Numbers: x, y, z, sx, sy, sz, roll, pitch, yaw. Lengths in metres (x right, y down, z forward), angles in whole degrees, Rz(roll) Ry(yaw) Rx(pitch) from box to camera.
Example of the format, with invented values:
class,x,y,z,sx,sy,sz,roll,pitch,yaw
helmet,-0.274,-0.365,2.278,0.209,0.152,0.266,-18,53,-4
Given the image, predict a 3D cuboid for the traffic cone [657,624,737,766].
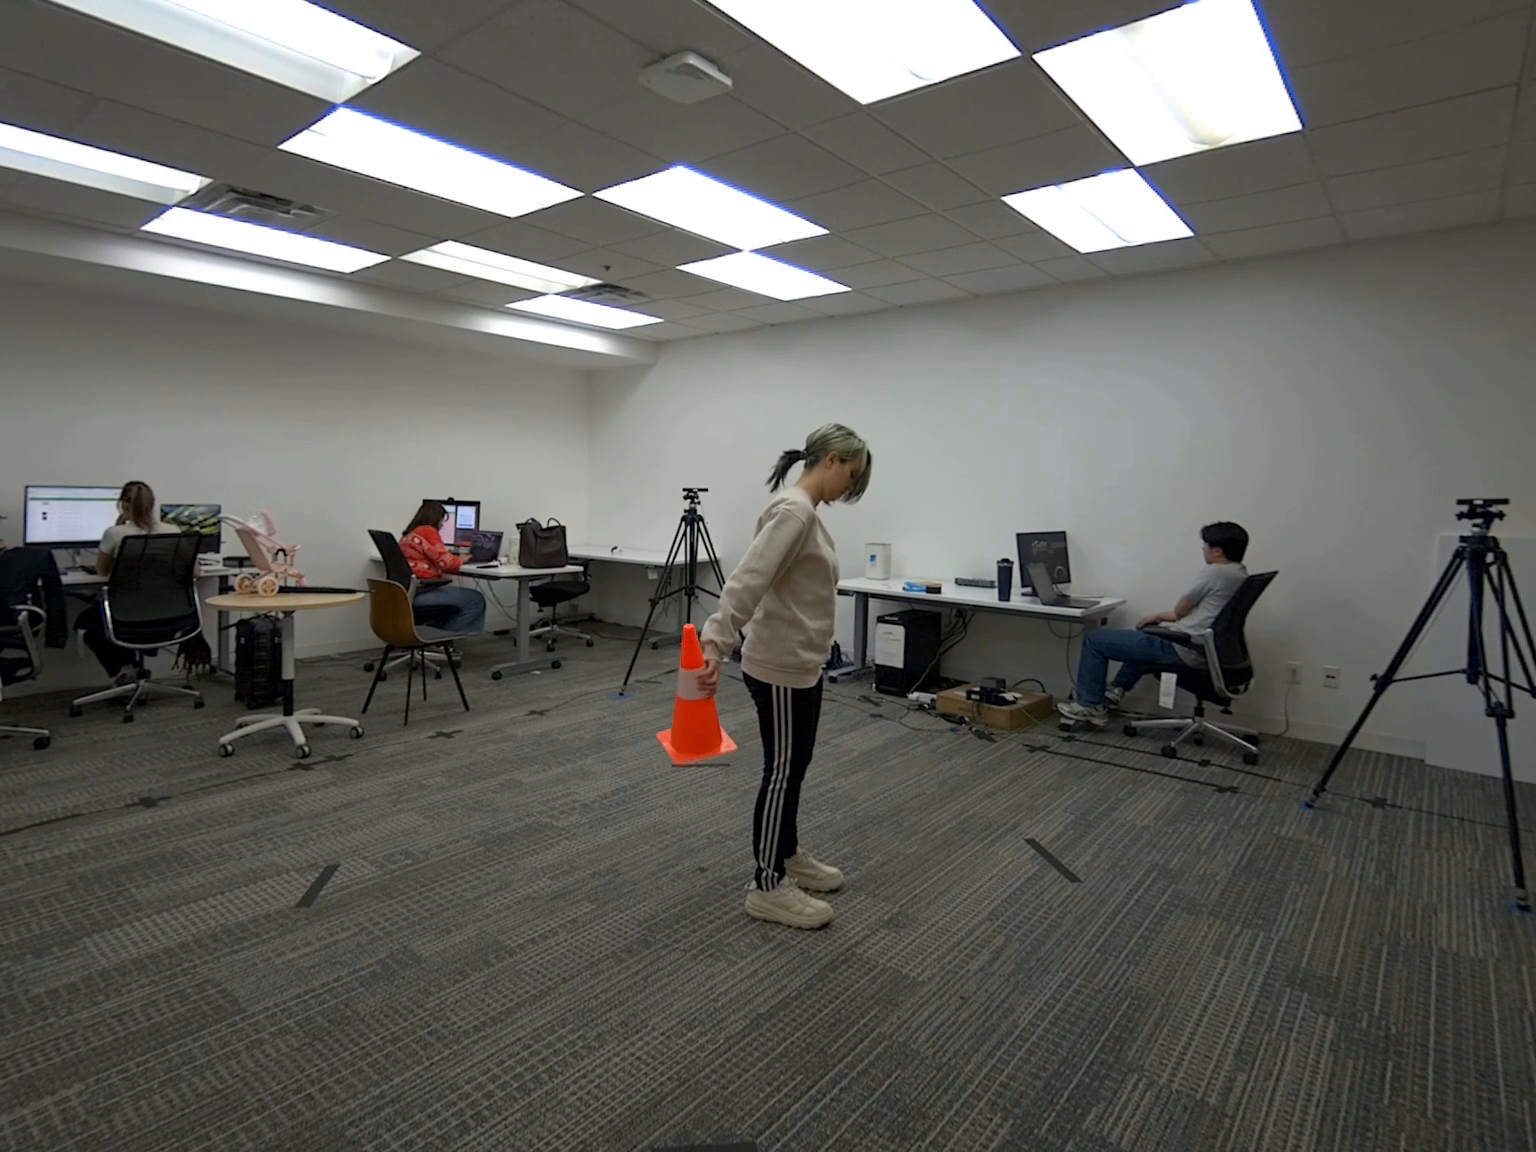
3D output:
class,x,y,z,sx,sy,sz,roll,pitch,yaw
traffic cone,-0.219,0.317,2.507,0.201,0.378,0.210,-7,17,-22
